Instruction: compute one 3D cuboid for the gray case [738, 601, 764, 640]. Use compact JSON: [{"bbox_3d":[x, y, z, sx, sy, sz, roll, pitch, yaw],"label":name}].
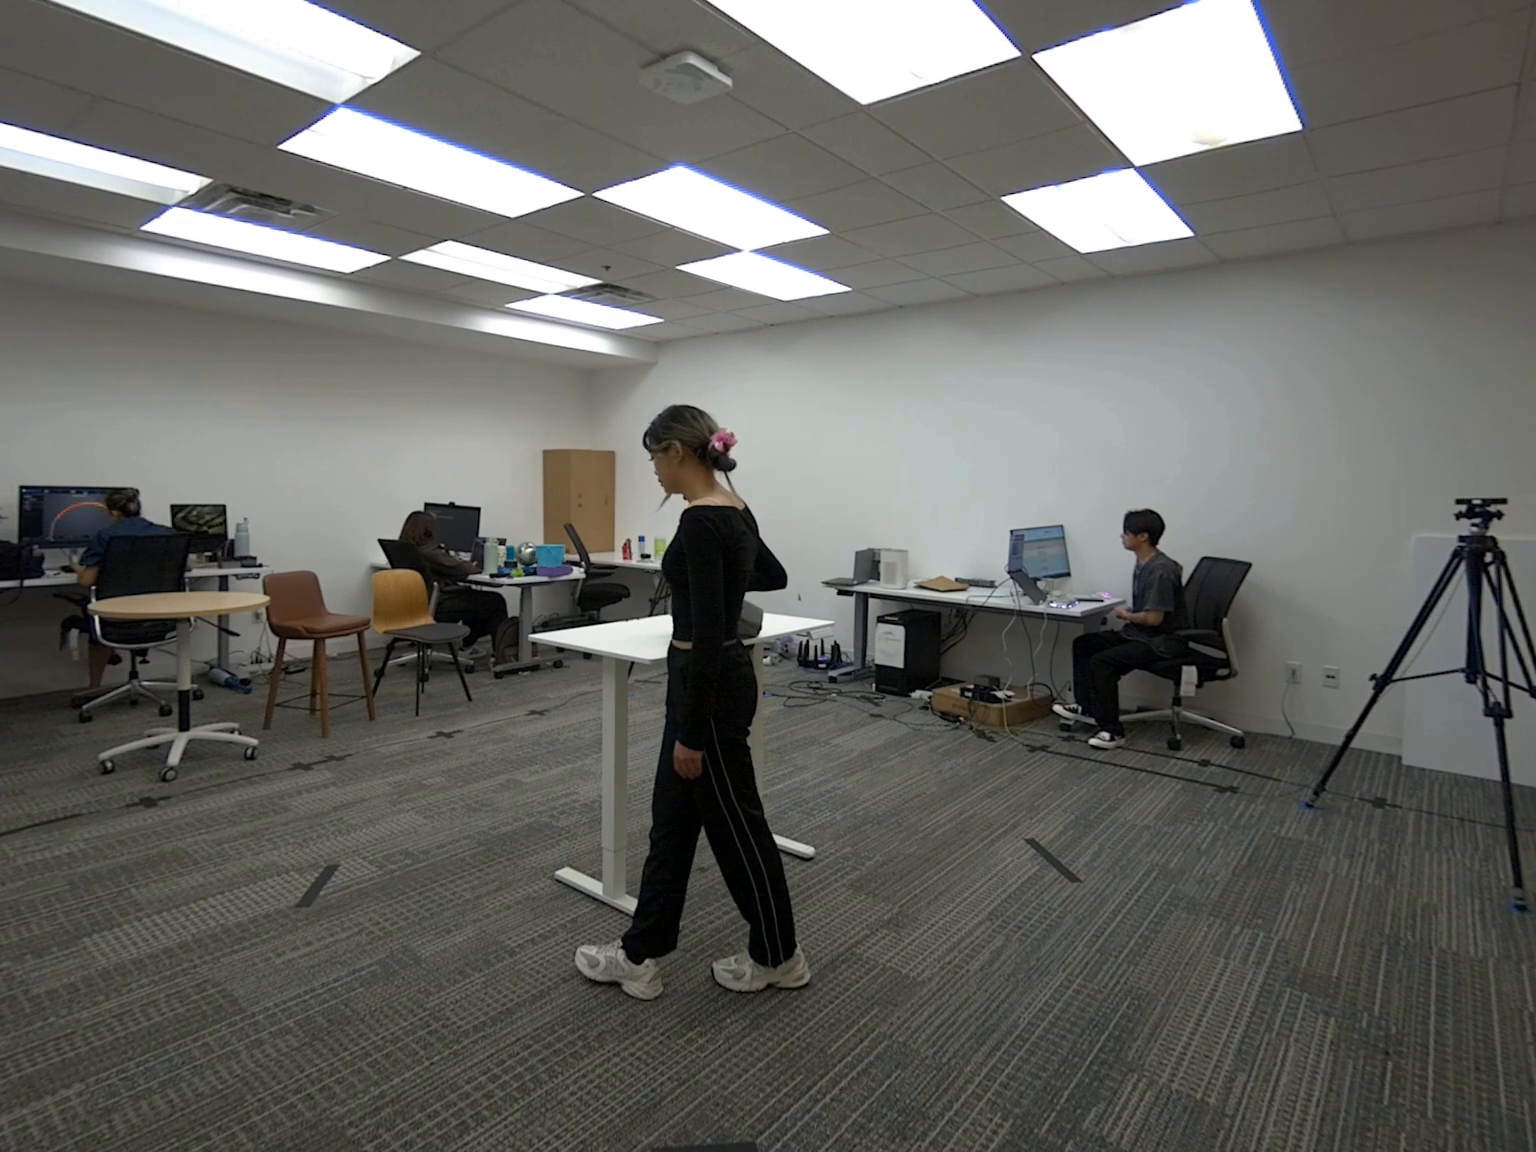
[{"bbox_3d":[-0.189,0.120,2.895,0.265,0.105,0.250,5,-14,32],"label":"gray case"}]
